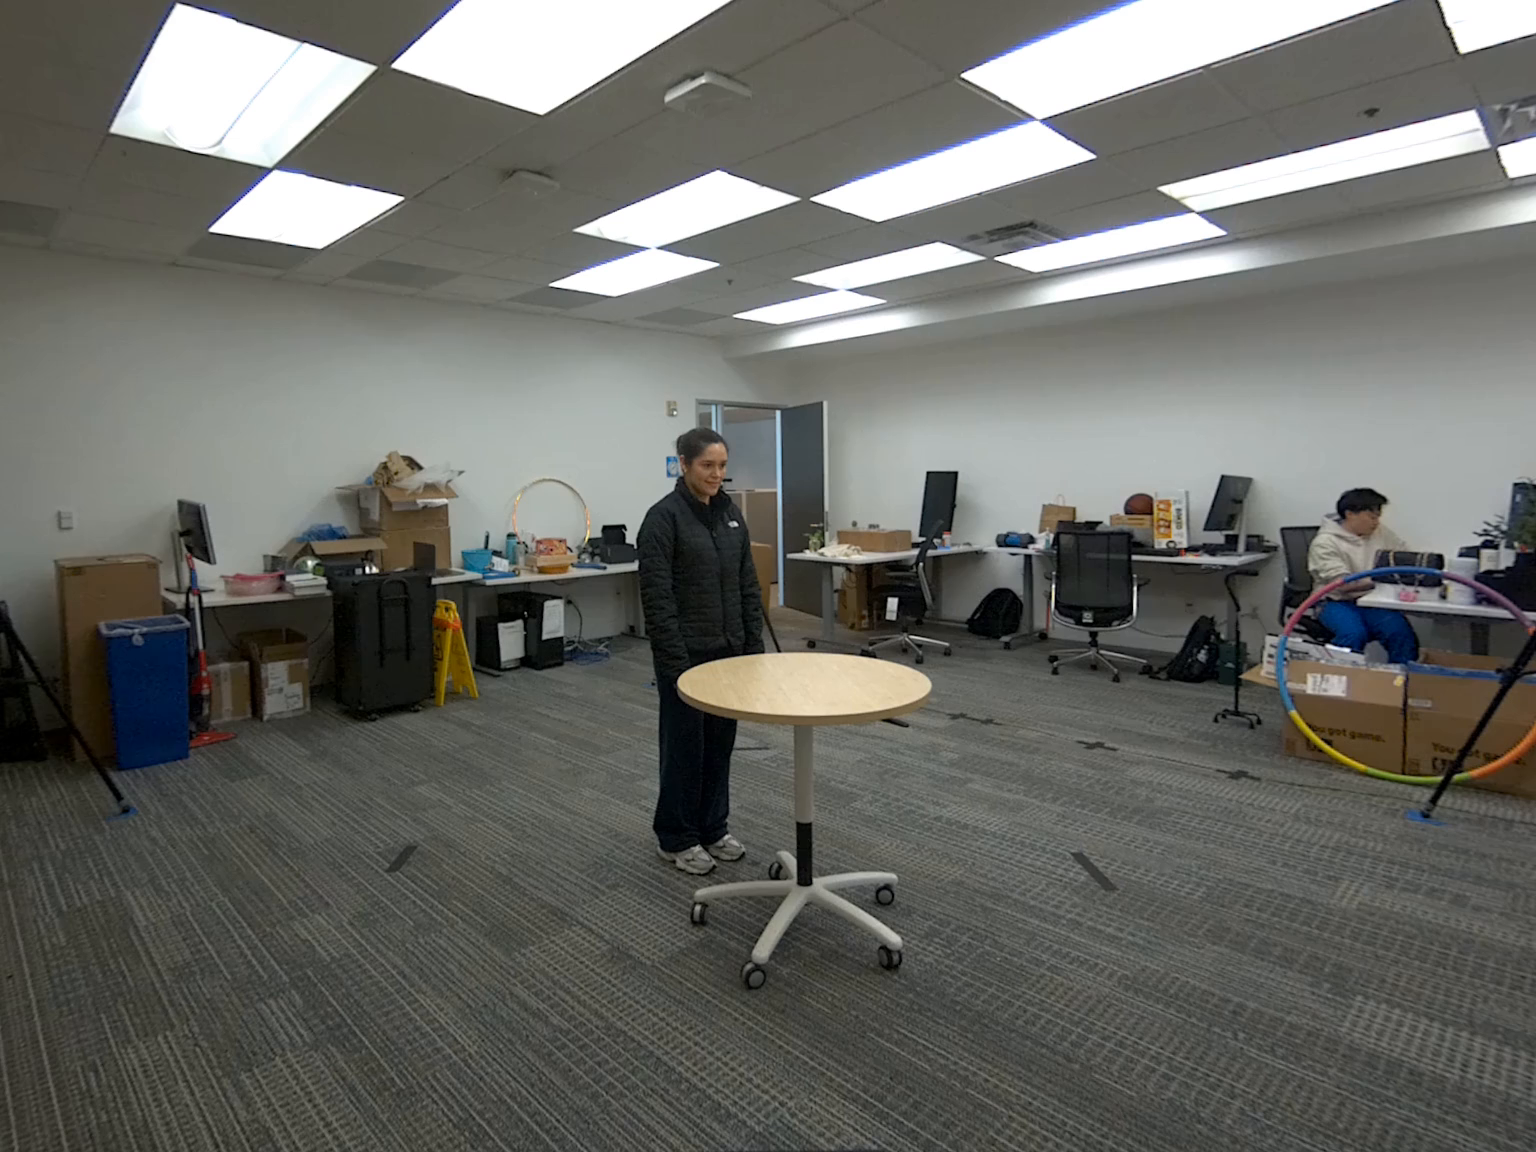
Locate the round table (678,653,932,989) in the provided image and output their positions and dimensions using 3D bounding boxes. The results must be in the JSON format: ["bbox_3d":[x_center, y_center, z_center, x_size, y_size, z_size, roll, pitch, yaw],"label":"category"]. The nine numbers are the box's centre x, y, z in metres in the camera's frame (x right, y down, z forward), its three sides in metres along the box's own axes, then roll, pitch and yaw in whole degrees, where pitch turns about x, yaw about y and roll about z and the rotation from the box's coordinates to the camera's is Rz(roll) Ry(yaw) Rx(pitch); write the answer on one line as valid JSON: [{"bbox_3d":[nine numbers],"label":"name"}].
[{"bbox_3d":[0.119,0.702,2.650,0.784,0.783,0.790,-1,6,-2],"label":"round table"}]
